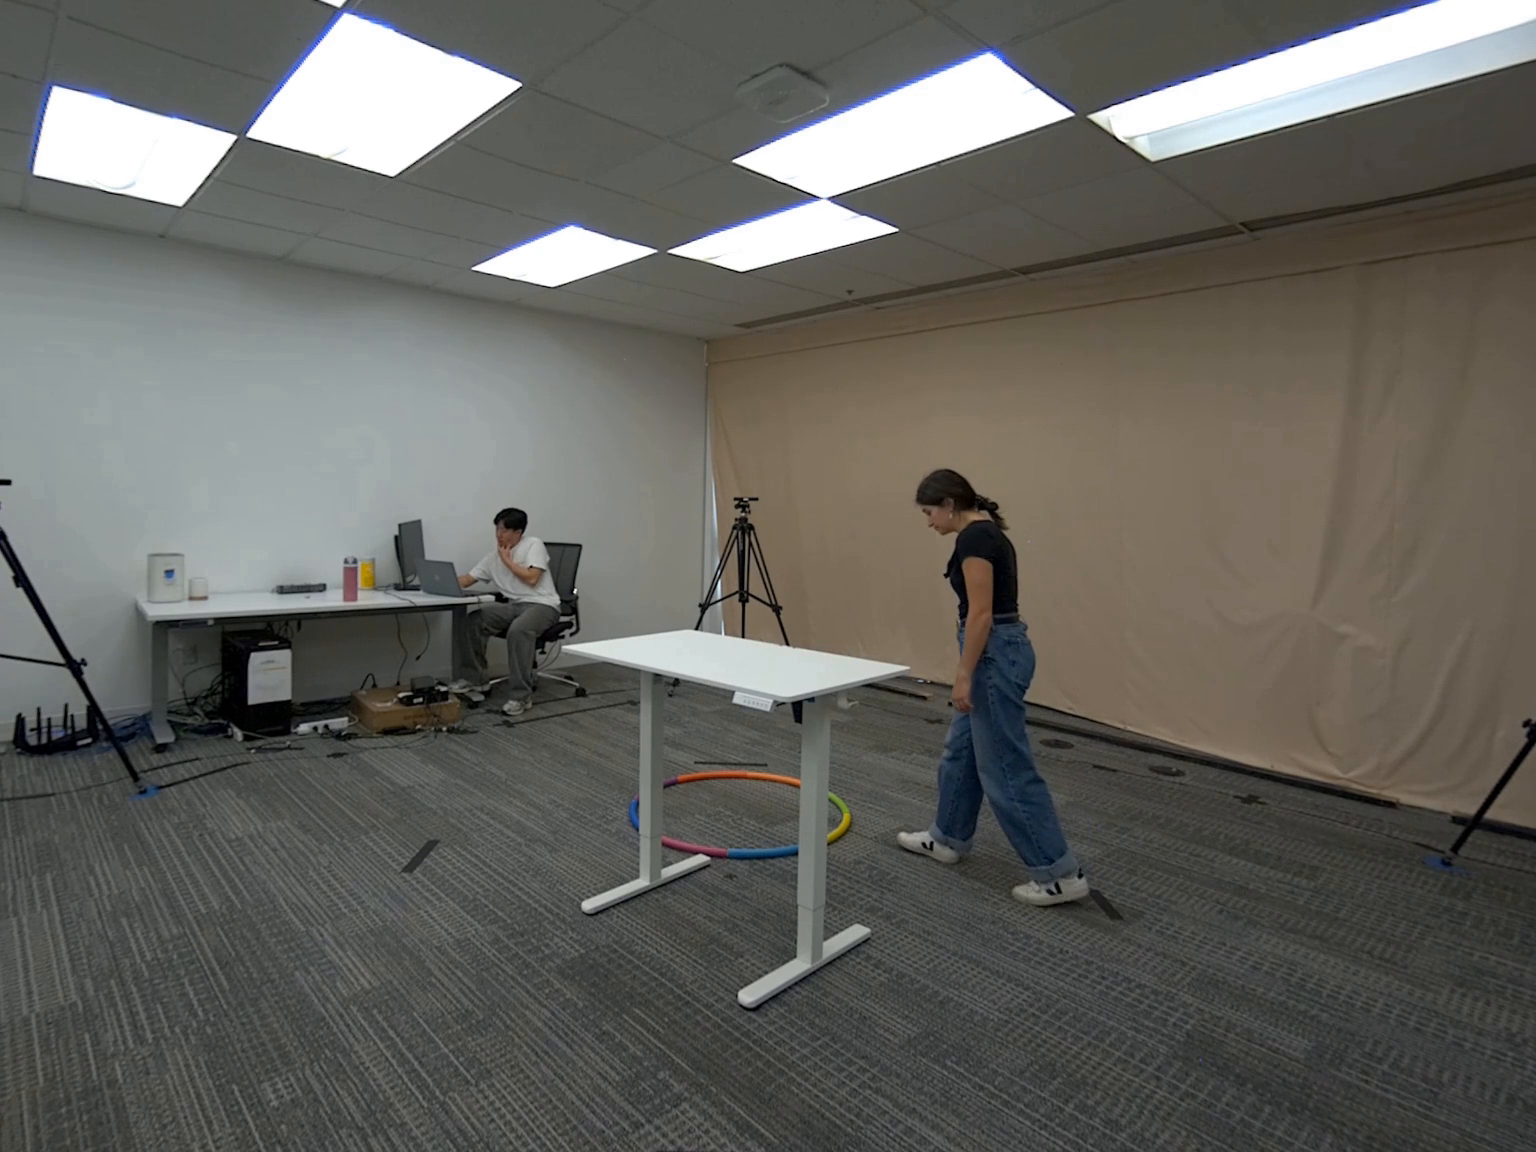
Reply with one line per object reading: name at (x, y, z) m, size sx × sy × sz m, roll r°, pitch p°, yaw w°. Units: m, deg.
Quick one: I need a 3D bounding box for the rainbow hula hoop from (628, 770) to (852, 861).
rainbow hula hoop at (-0.138, 1.025, 3.732) m, size 0.978 × 0.035 × 0.982 m, roll 1°, pitch 5°, yaw -1°
